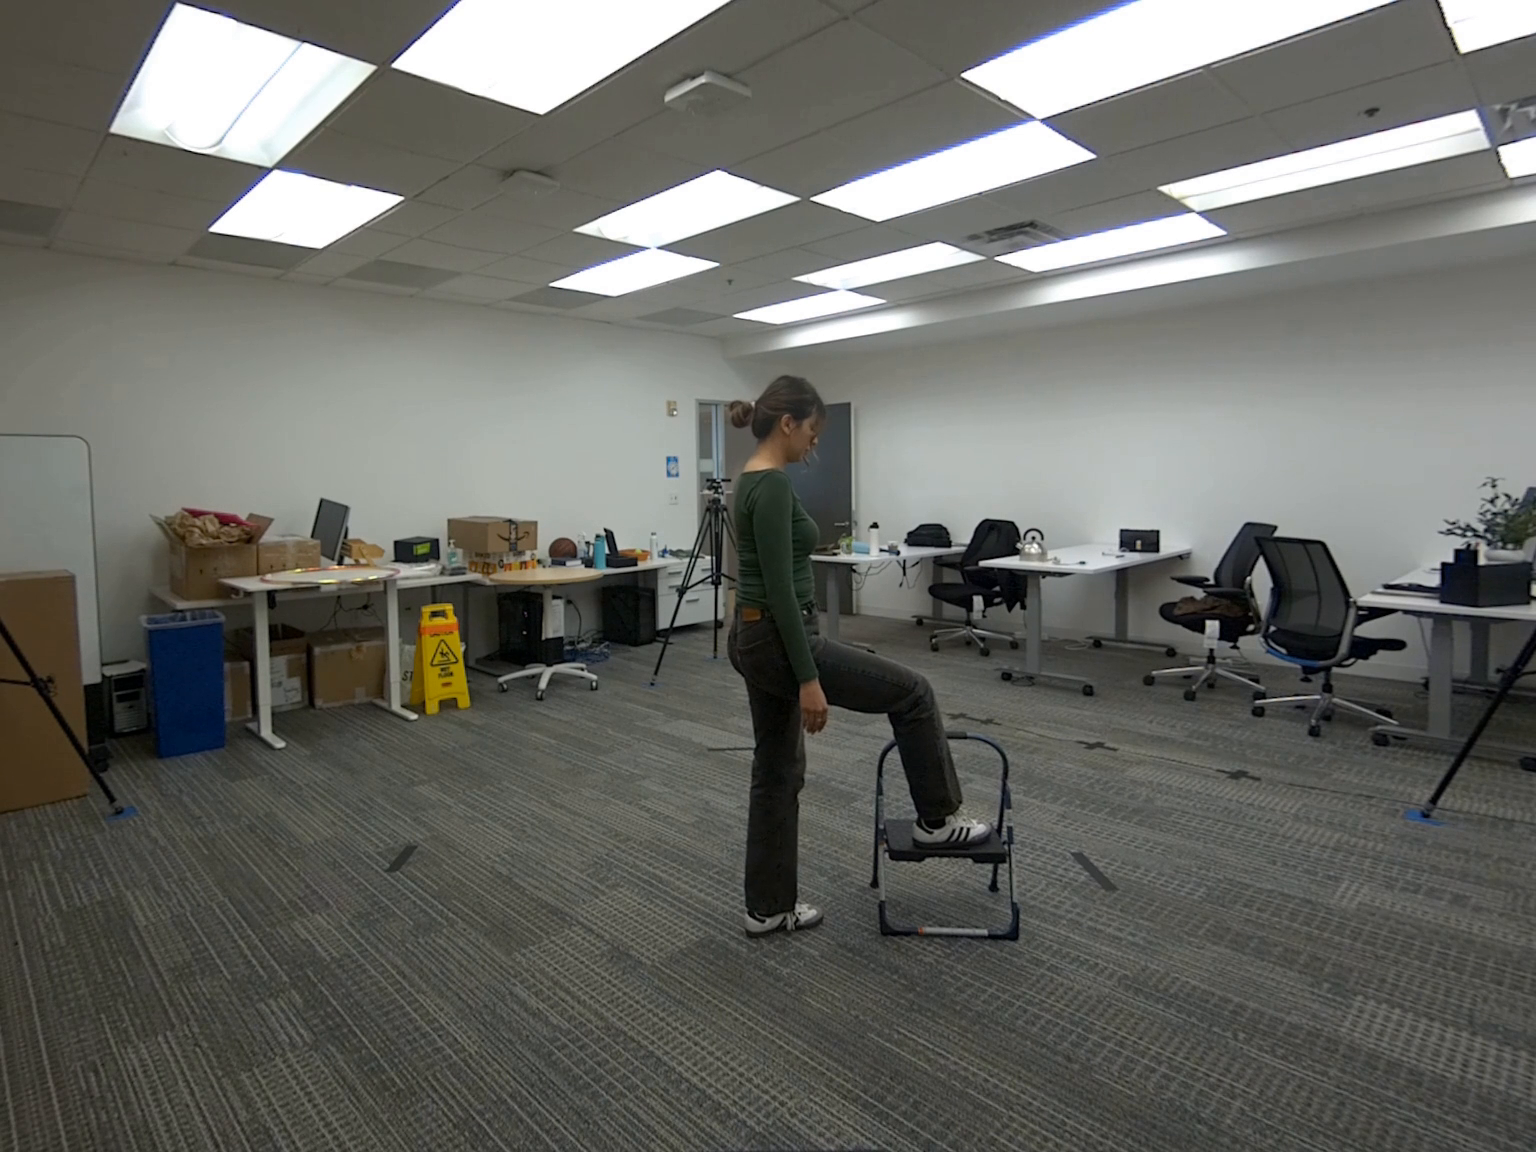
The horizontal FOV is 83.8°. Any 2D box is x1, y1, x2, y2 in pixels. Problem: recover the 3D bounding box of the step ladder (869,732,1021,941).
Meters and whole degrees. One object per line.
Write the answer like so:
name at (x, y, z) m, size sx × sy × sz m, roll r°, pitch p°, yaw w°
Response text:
step ladder at (0.556, 0.778, 2.731) m, size 0.433 × 0.604 × 0.349 m, roll -1°, pitch 3°, yaw 4°
